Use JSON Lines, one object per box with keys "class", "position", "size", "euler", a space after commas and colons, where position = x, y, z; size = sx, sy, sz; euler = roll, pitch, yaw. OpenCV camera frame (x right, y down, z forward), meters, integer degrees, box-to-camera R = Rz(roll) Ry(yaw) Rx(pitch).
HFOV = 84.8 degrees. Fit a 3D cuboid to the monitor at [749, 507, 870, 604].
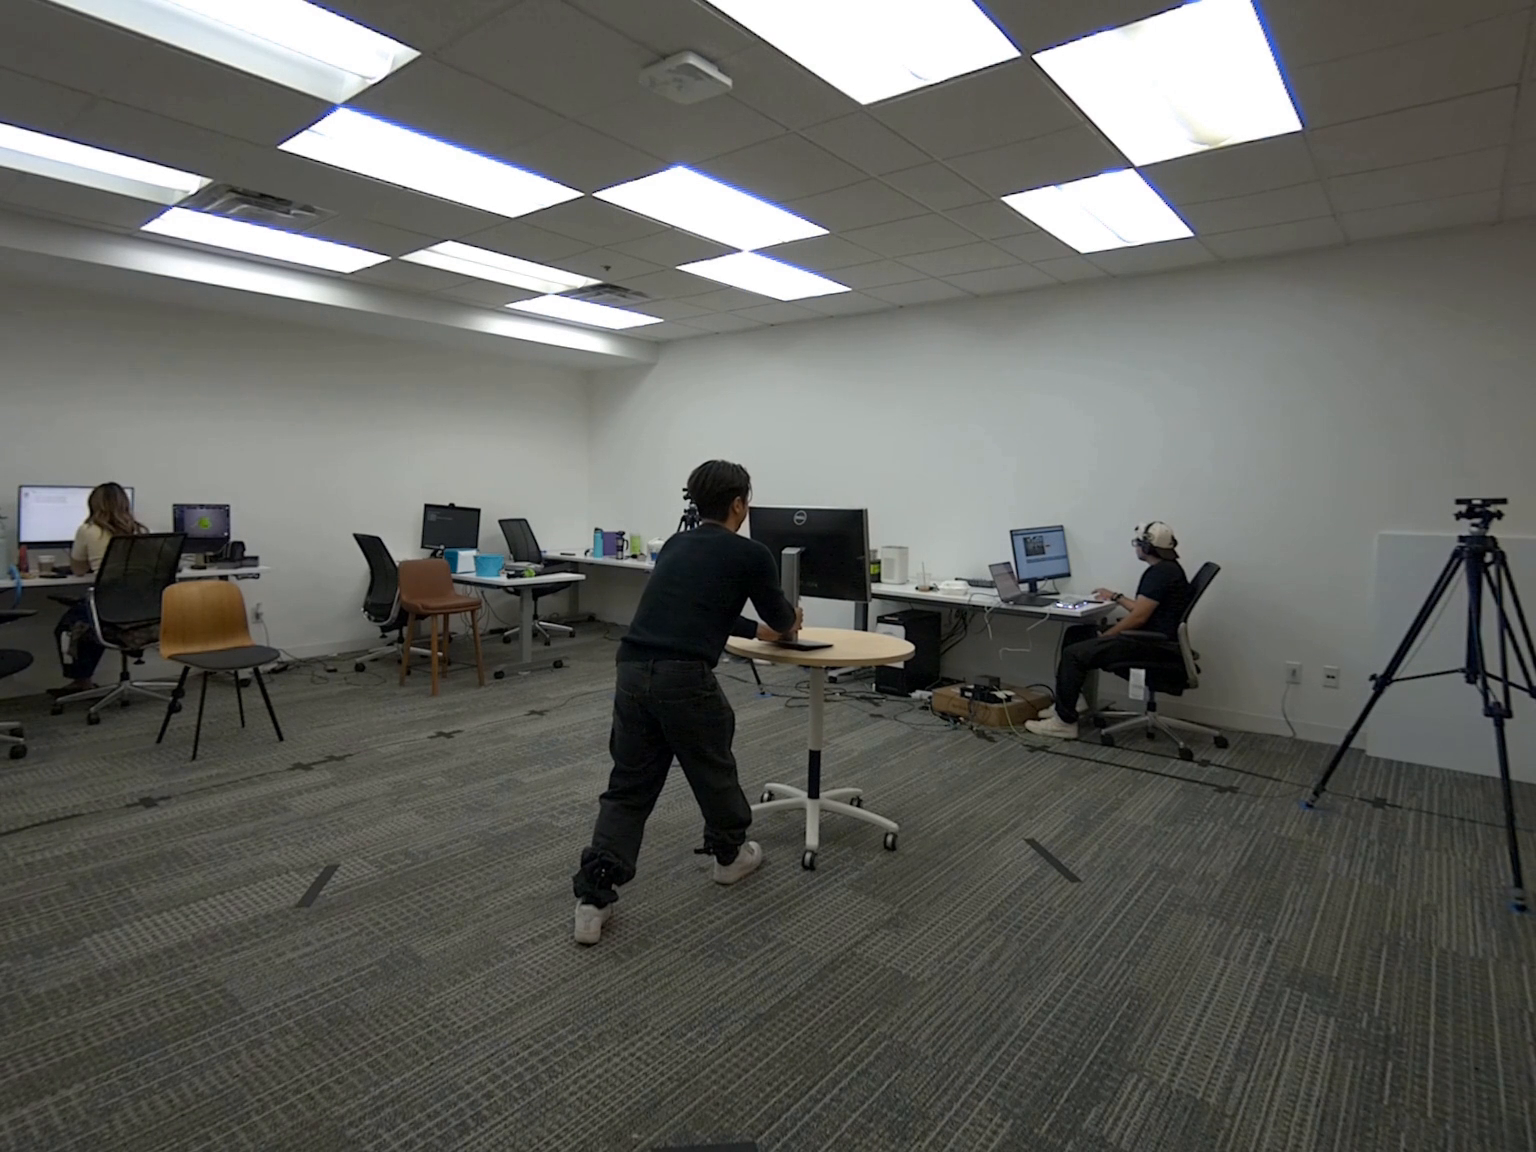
{"class": "monitor", "position": [0.121, -0.005, 3.360], "size": [0.557, 0.523, 0.181], "euler": [4, 0, 37]}
